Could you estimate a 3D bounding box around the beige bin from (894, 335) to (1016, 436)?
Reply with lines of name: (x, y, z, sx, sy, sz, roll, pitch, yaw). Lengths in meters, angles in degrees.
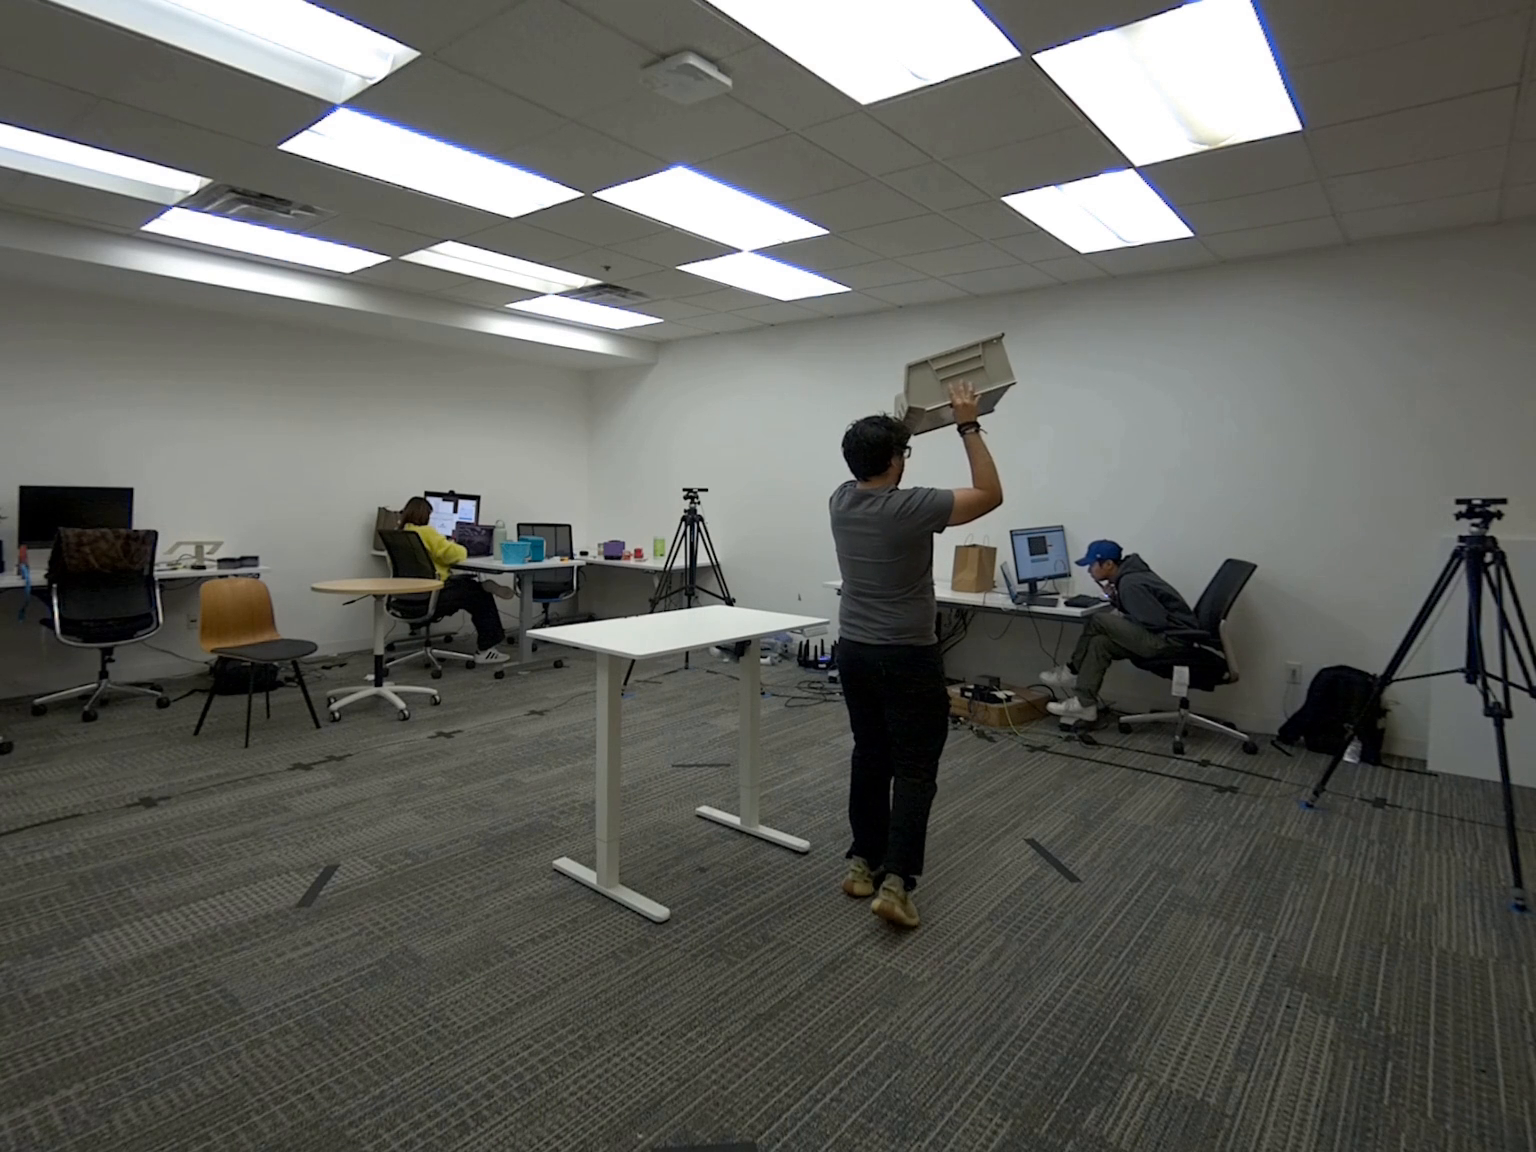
beige bin: (0.645, -0.672, 3.067, 0.378, 0.191, 0.417, -17, -5, 4)
